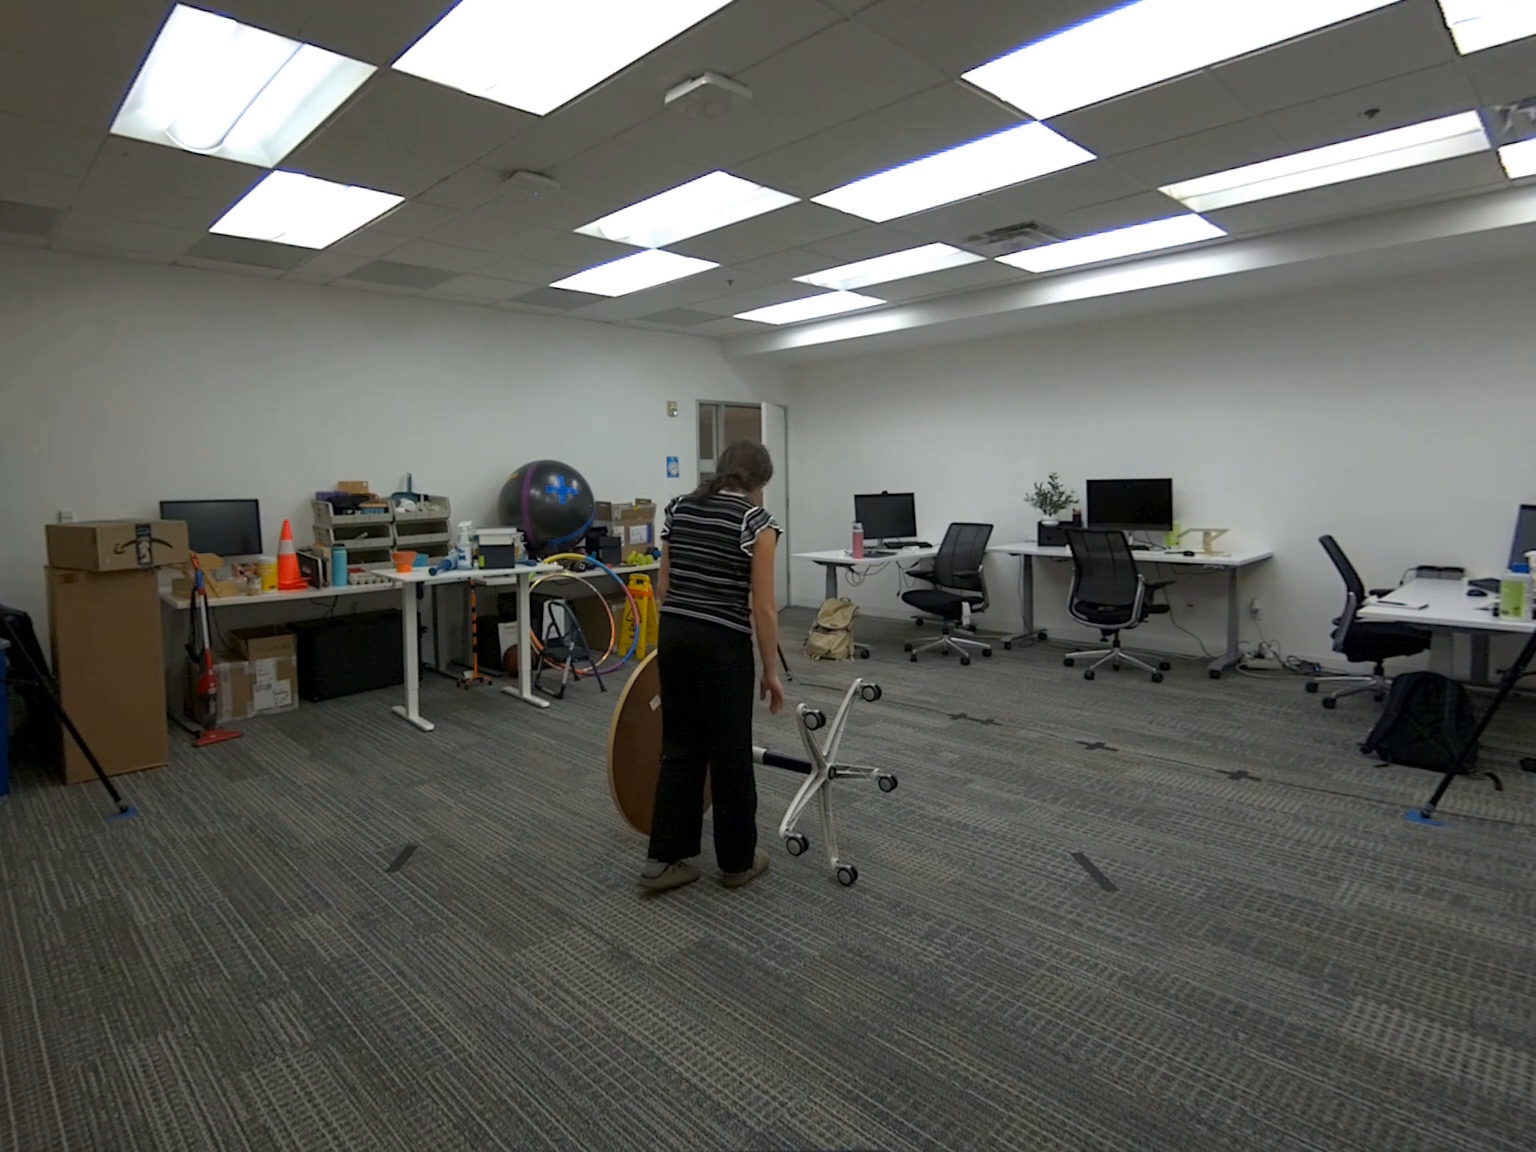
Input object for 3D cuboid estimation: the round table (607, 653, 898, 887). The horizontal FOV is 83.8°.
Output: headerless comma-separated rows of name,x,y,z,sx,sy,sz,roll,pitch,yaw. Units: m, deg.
round table,-0.037,0.670,3.141,0.818,0.760,0.745,5,7,36
